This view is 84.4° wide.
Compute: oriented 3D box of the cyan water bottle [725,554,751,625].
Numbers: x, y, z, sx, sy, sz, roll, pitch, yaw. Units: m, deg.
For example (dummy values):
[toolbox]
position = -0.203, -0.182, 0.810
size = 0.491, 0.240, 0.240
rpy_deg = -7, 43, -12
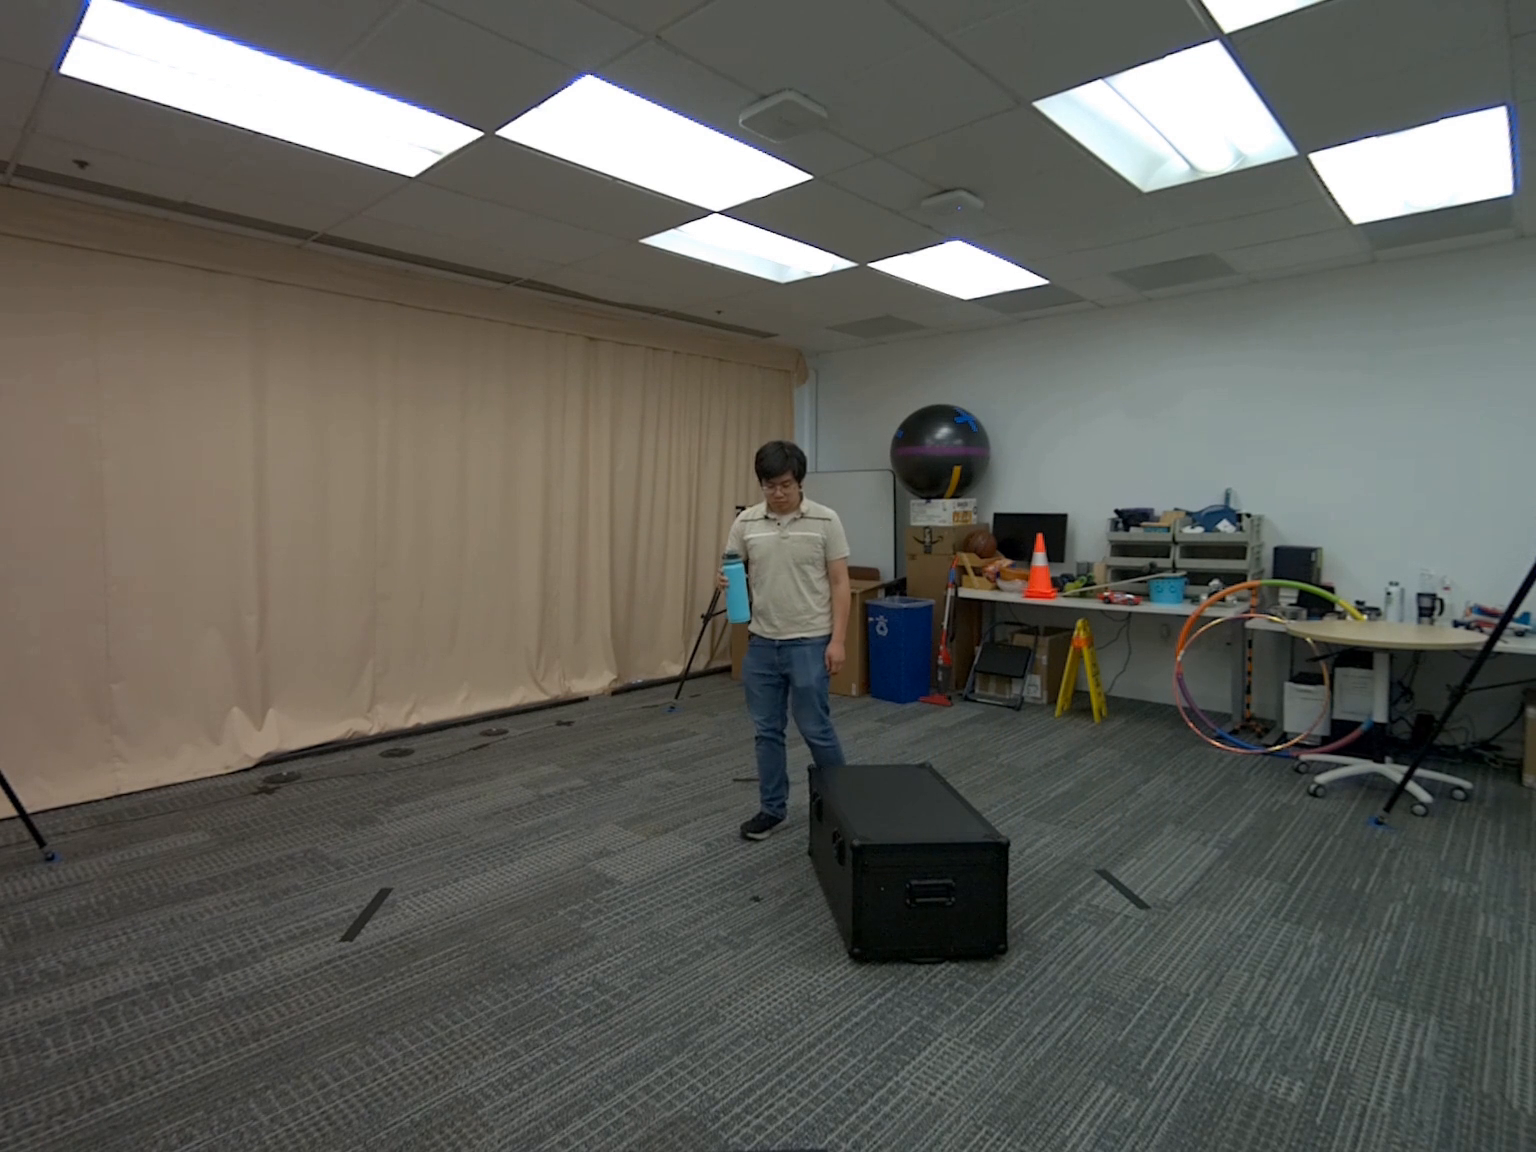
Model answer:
[cyan water bottle]
position = -0.115, 0.037, 3.311
size = 0.092, 0.283, 0.092
rpy_deg = -2, 3, -2
